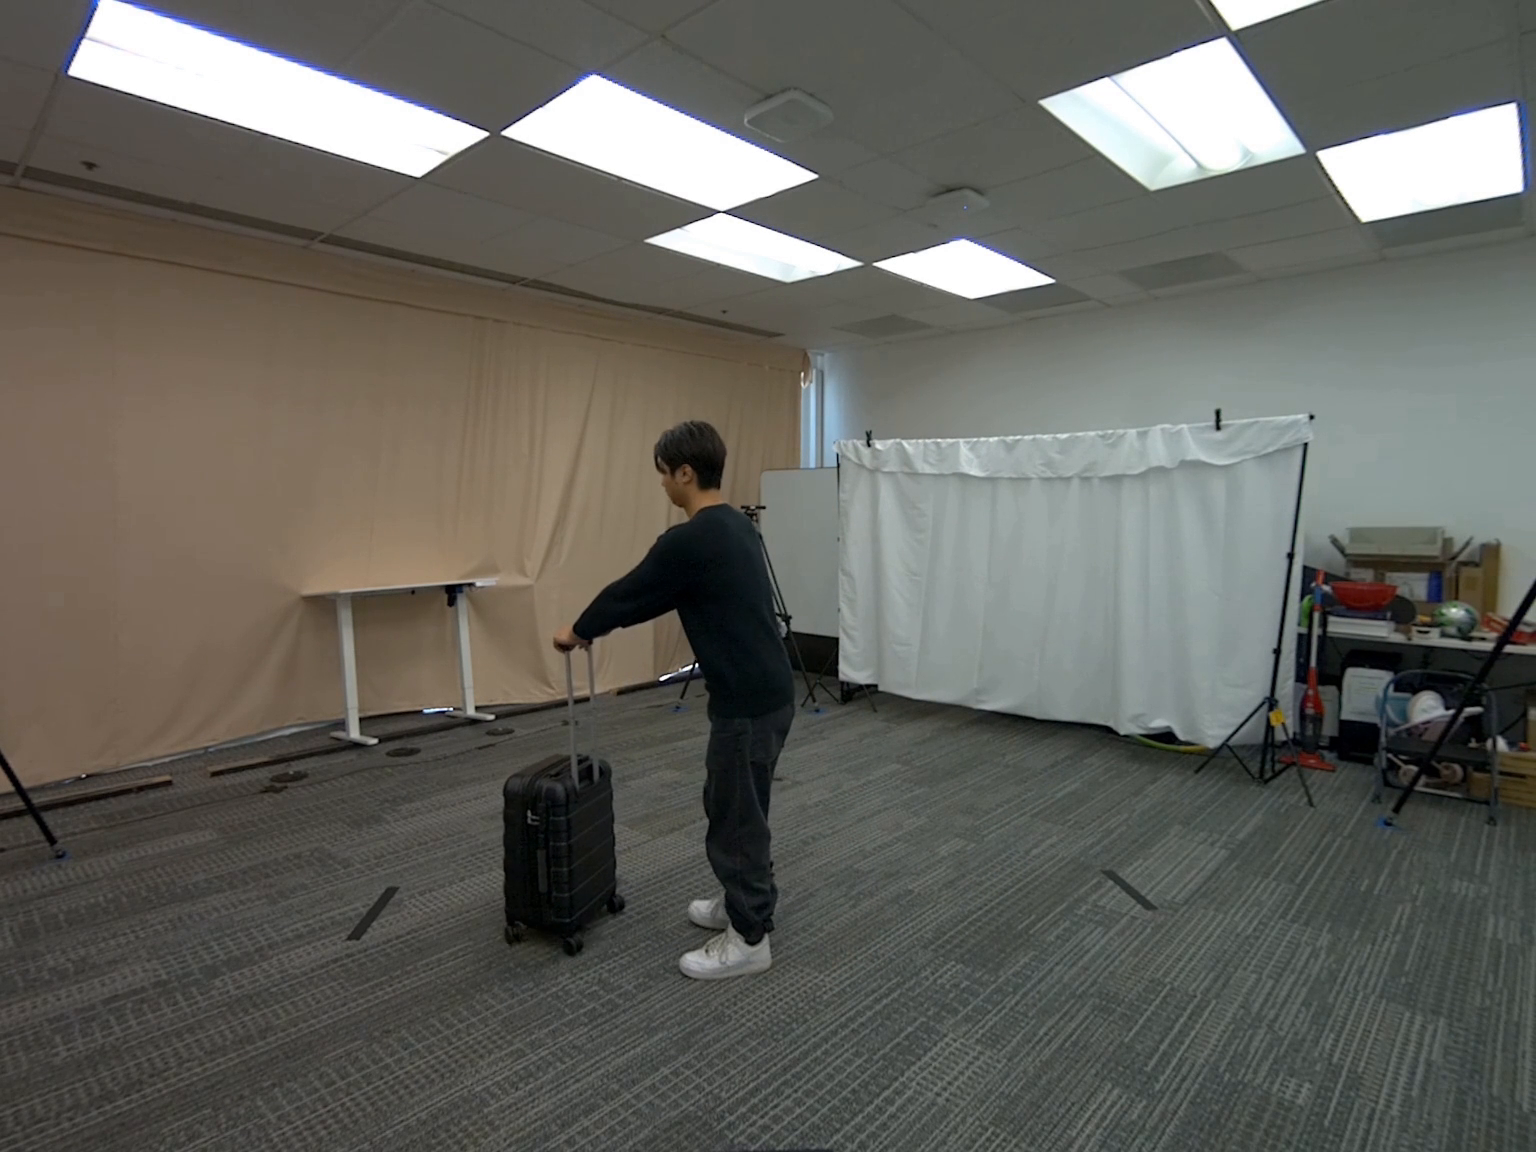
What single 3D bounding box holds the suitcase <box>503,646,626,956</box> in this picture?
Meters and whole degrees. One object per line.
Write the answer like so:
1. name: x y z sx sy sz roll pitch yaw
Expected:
1. suitcase: -0.699 0.688 2.803 0.262 0.978 0.377 -3 0 18
